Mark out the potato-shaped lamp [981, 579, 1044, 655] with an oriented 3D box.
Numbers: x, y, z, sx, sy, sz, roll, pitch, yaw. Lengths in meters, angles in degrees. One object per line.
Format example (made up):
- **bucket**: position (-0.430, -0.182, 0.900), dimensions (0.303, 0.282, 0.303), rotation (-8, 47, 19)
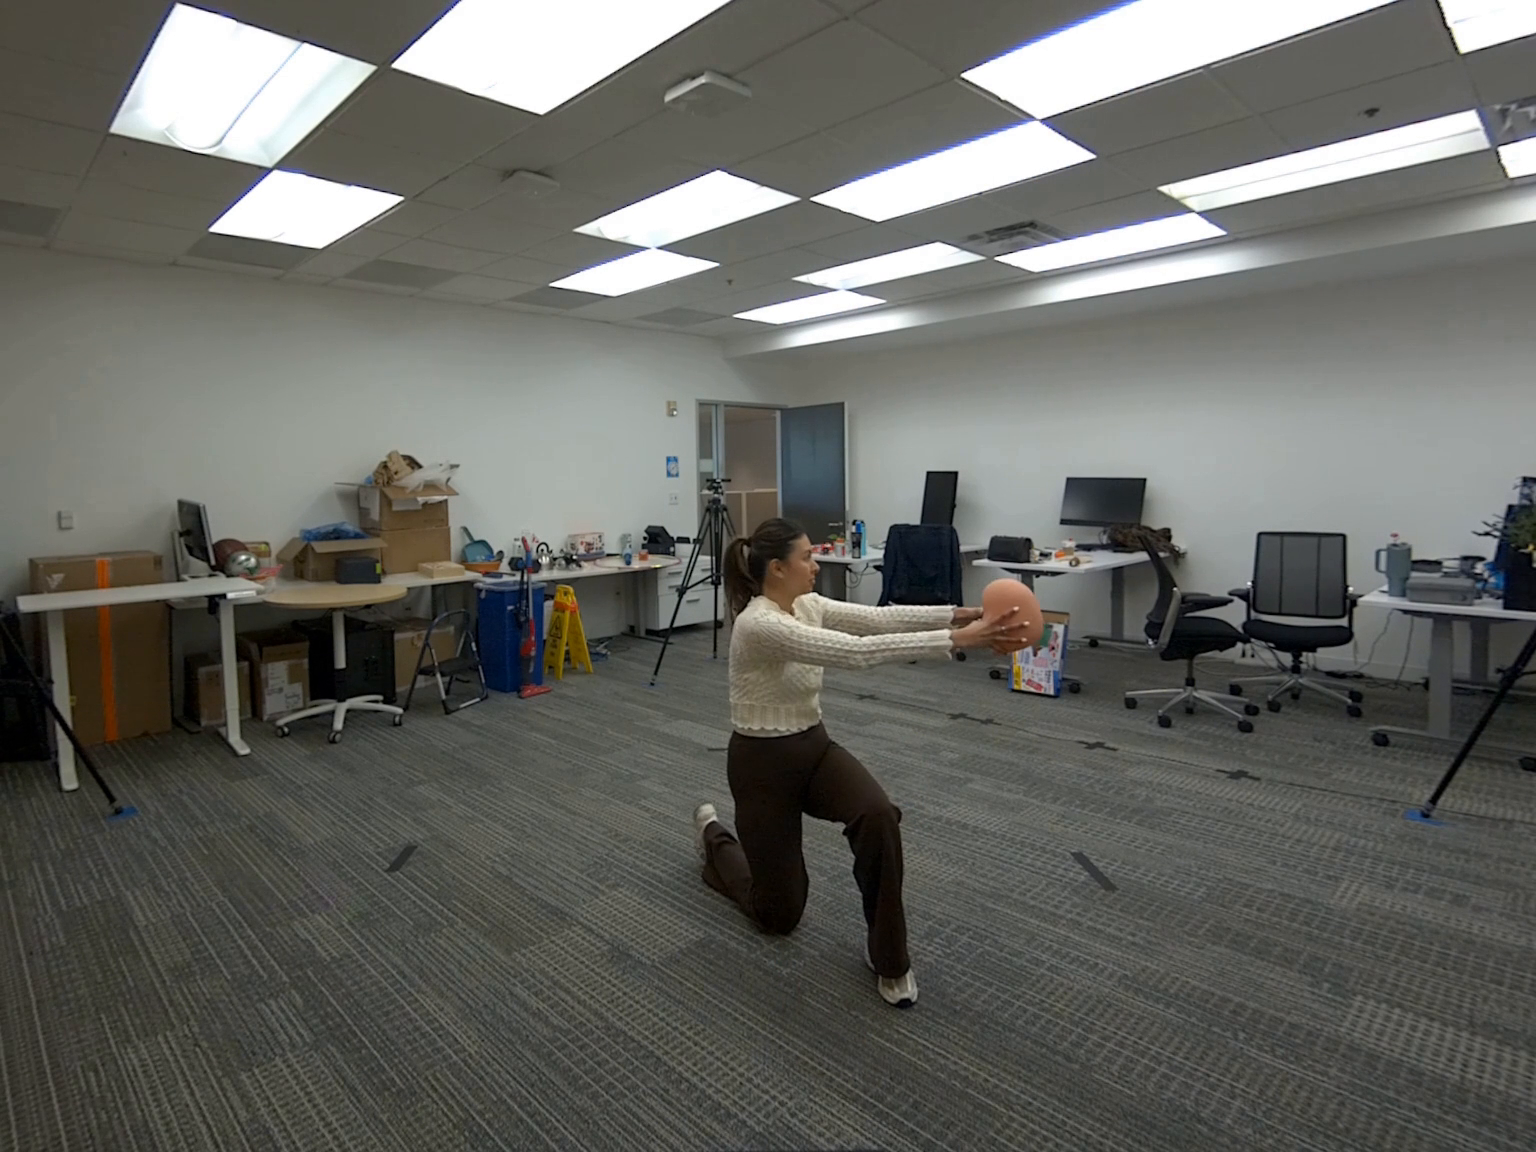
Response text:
- **potato-shaped lamp**: position (0.666, 0.108, 2.402), dimensions (0.173, 0.199, 0.162), rotation (-18, -3, 19)
